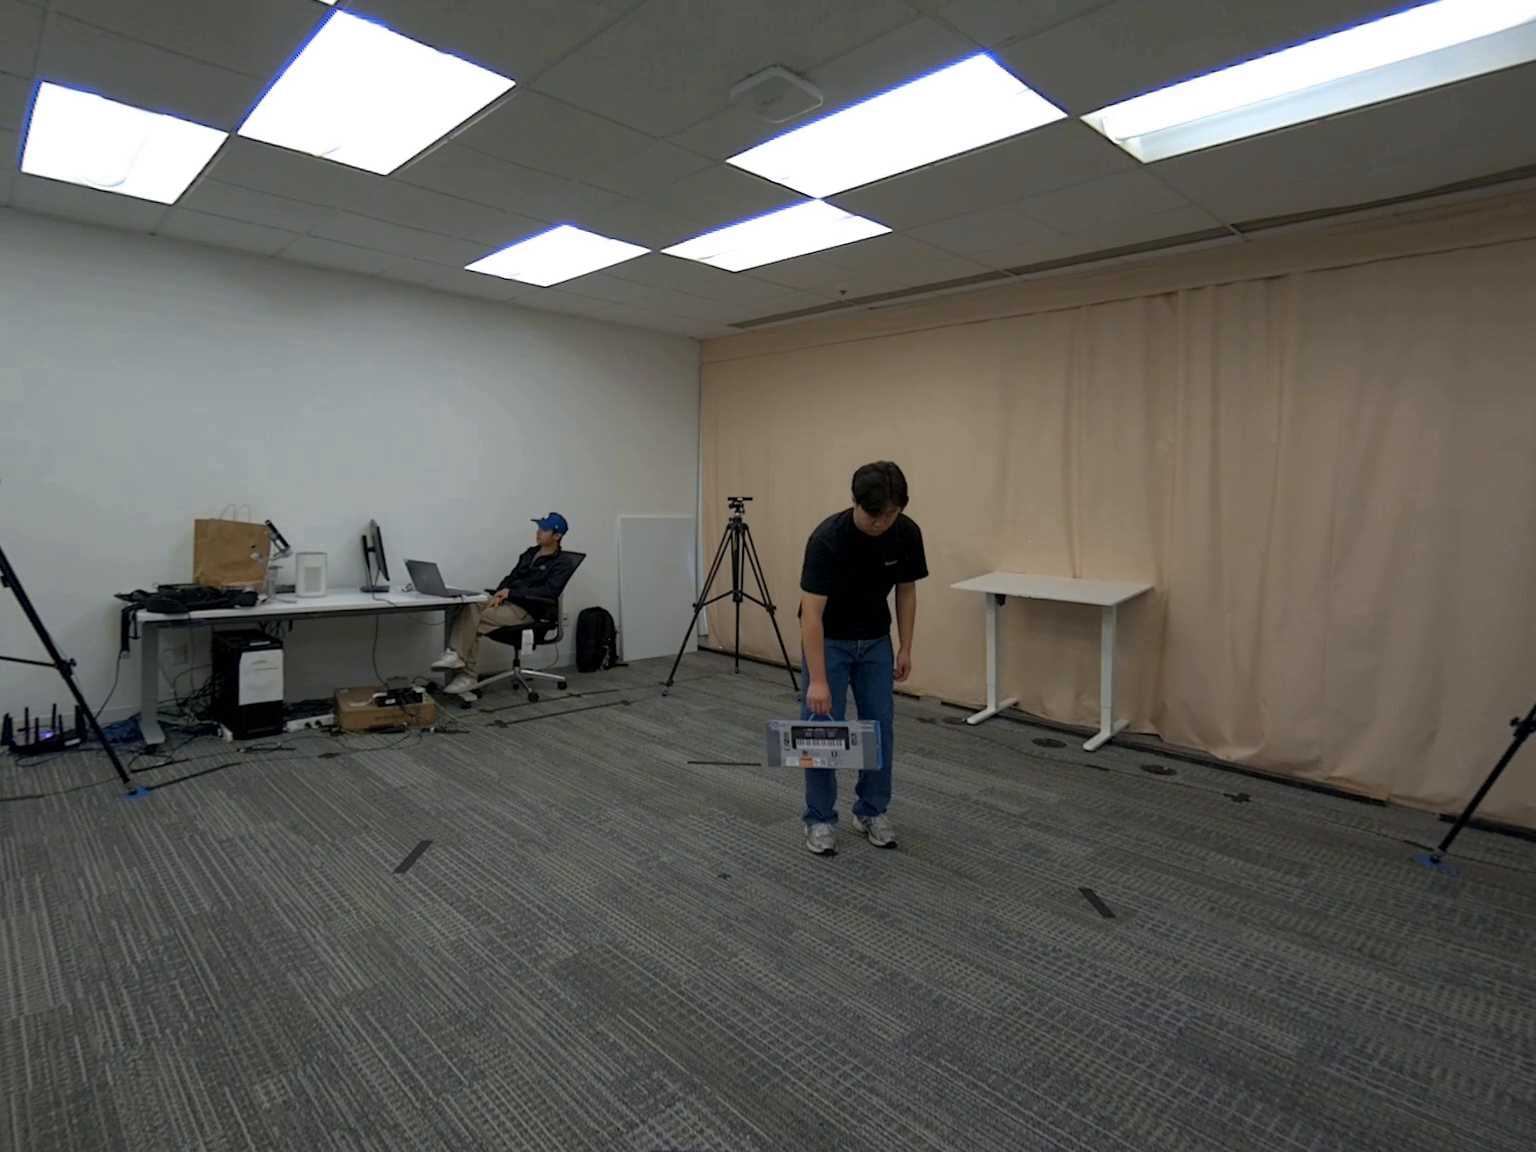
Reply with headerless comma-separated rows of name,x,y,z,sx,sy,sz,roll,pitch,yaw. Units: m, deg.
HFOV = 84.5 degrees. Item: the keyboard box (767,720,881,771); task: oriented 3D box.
keyboard box,0.200,0.645,3.179,0.444,0.176,0.058,-4,-4,24
